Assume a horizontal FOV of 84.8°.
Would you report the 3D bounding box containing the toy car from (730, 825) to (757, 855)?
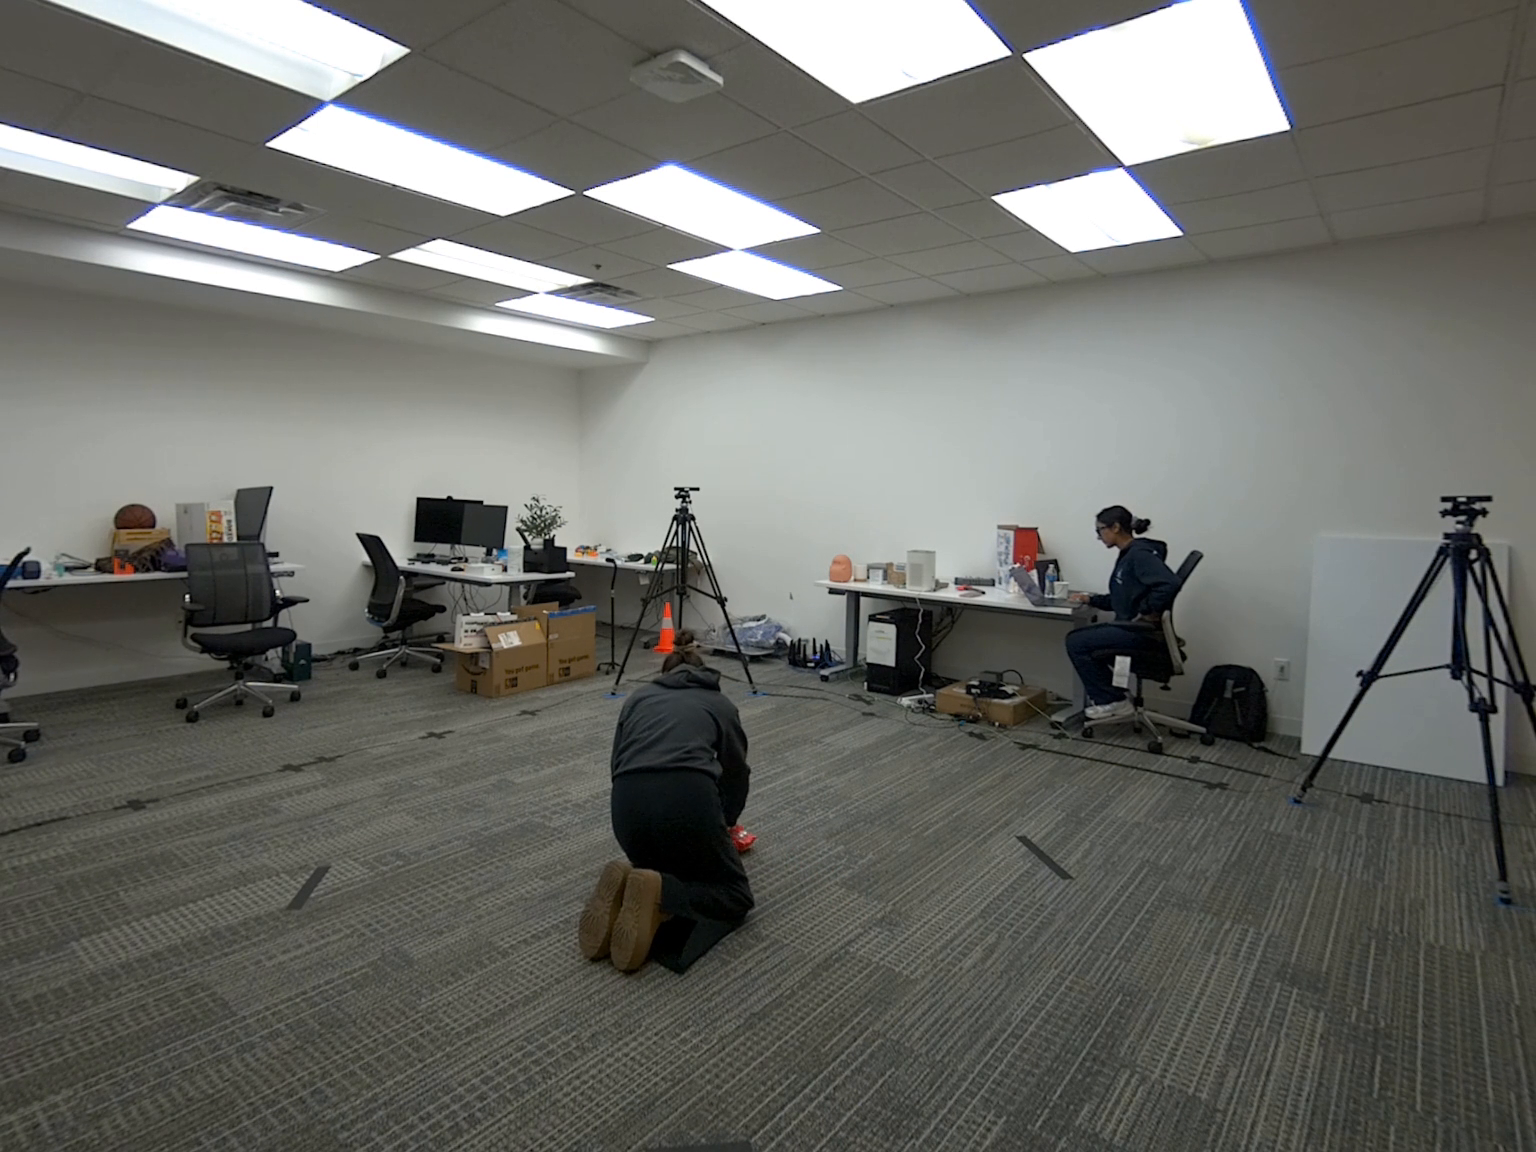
[{"bbox_3d":[-0.159,1.014,3.302,0.261,0.083,0.127,-9,-1,32],"label":"toy car"}]
